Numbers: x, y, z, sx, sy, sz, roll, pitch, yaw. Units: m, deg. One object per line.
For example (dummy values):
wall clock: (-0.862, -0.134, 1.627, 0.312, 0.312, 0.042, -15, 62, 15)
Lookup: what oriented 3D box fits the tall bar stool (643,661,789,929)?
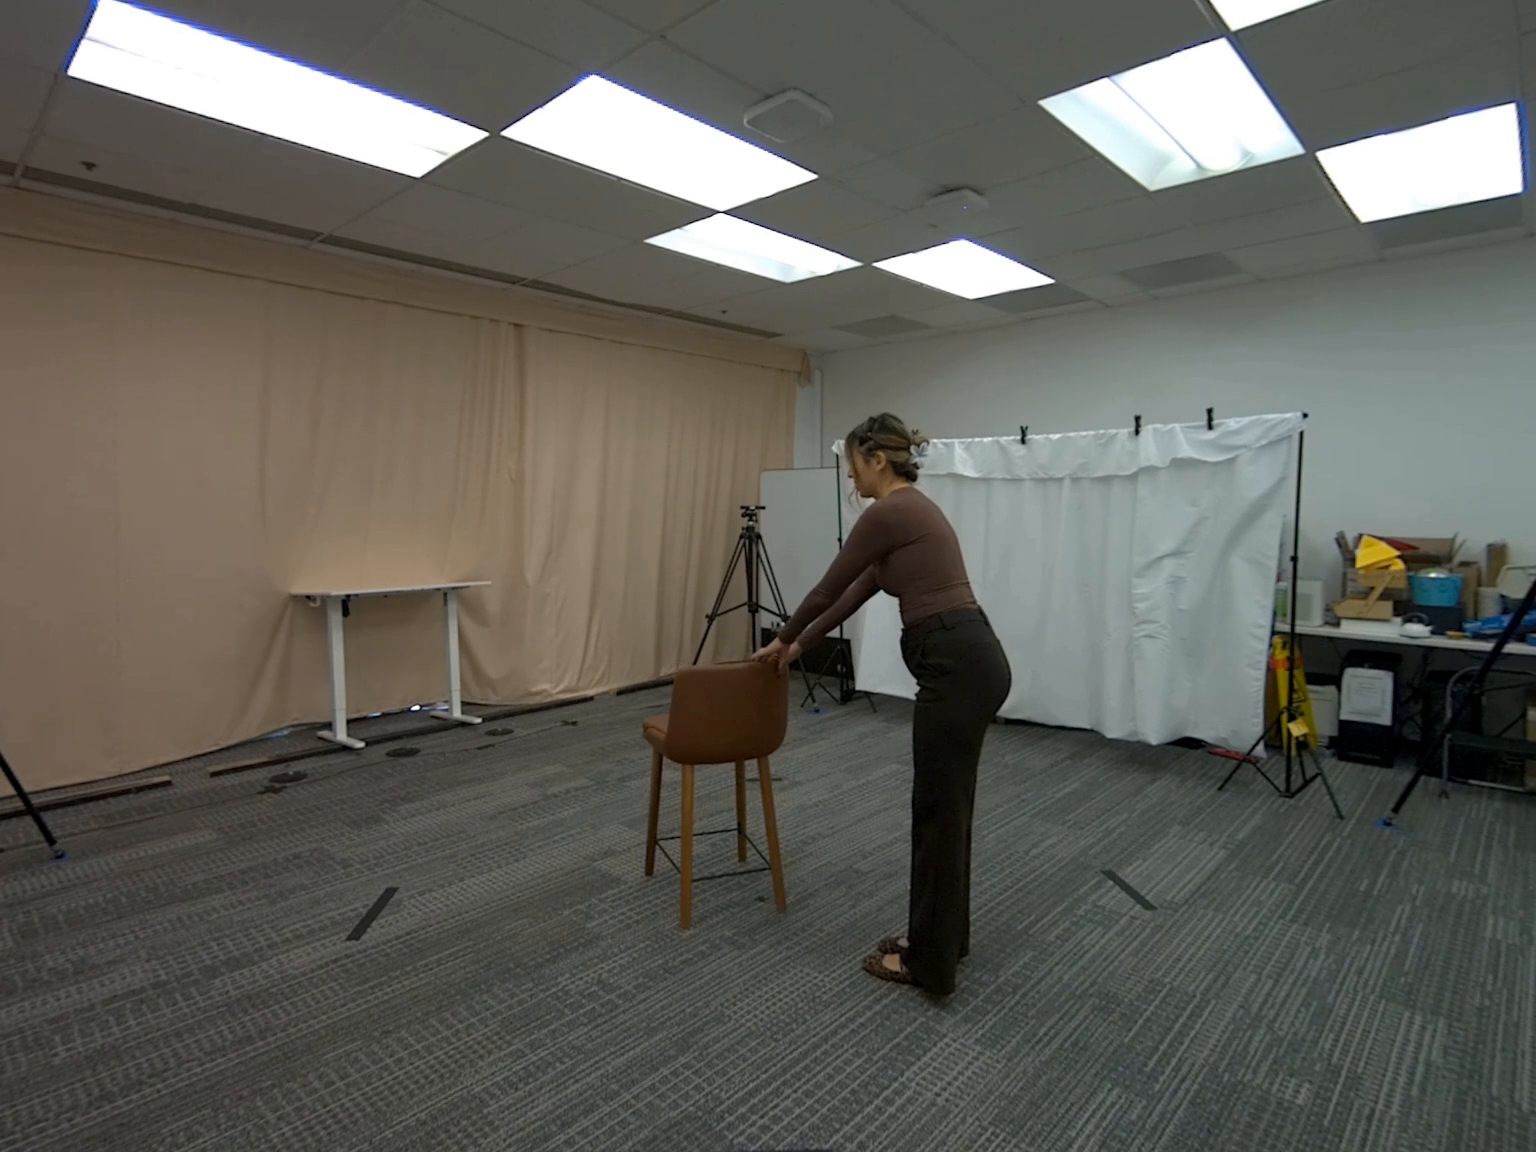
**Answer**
tall bar stool: (-0.192, 0.708, 3.011, 0.447, 0.887, 0.479, -1, 5, -21)
